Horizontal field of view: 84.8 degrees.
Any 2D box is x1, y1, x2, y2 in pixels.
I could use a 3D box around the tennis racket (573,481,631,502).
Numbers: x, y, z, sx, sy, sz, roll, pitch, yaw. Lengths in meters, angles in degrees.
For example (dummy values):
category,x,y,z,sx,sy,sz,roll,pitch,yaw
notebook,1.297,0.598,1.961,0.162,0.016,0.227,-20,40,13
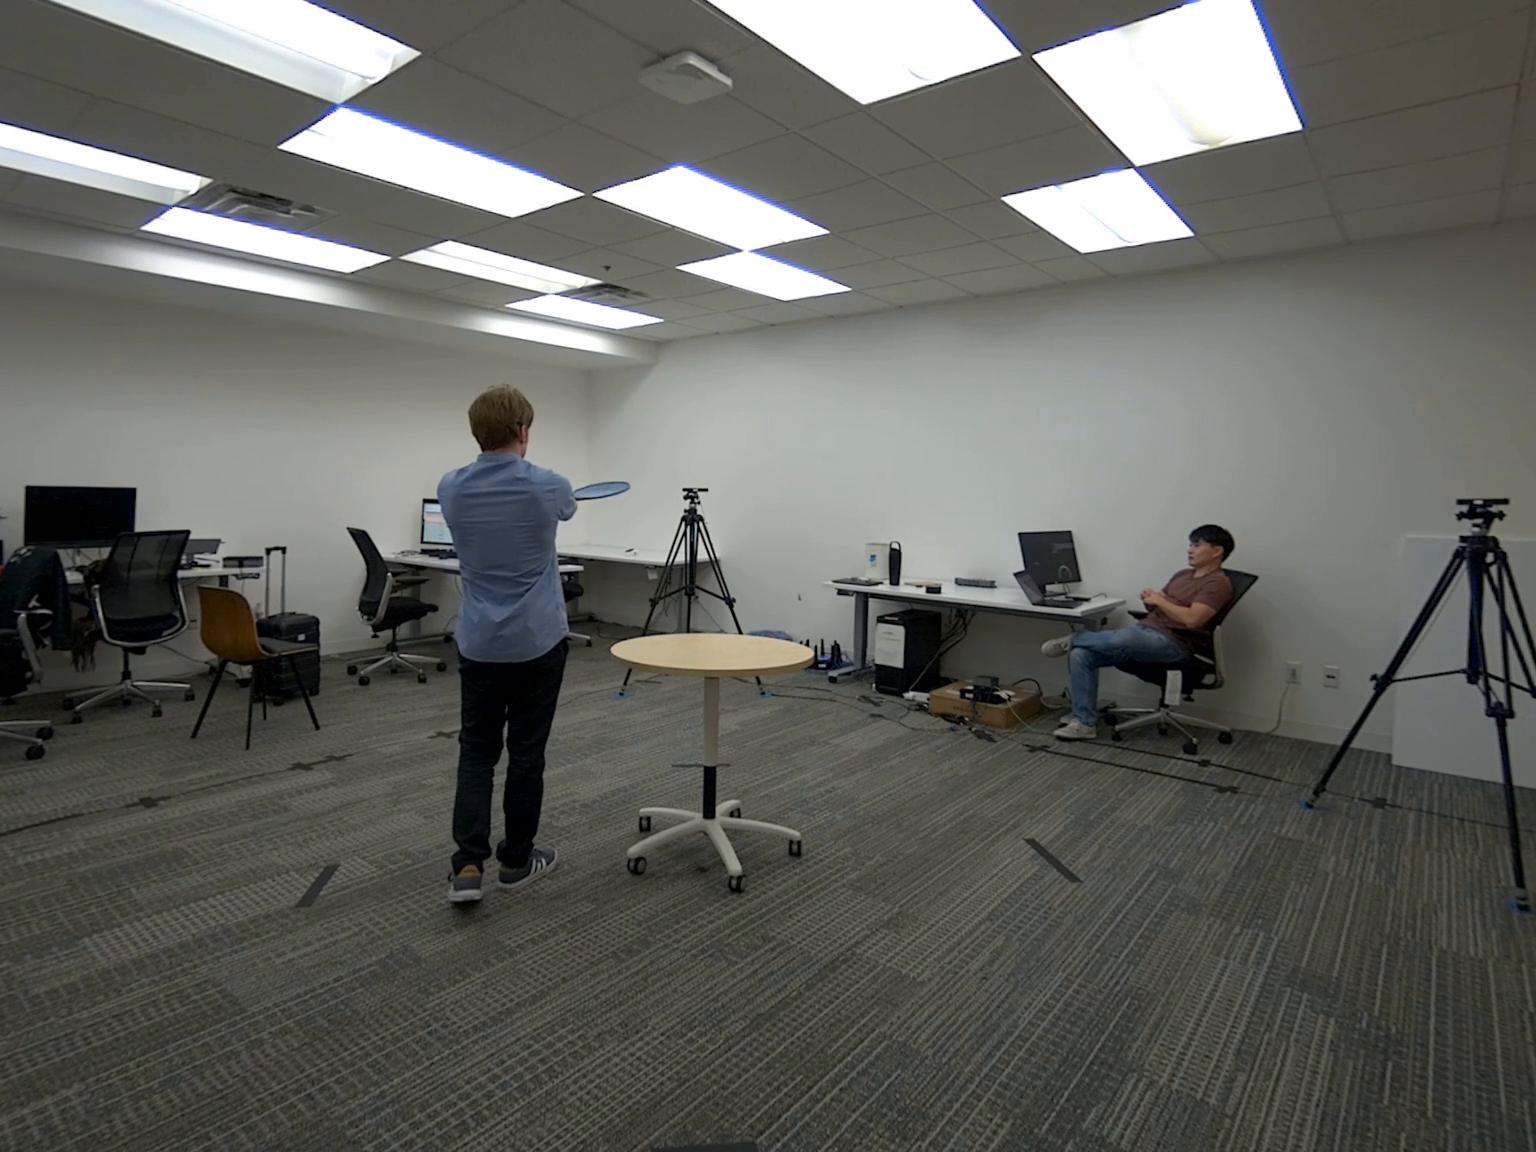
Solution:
category,x,y,z,sx,sy,sz,roll,pitch,yaw
tennis racket,-0.763,-0.337,3.526,0.221,0.031,0.426,11,26,38
